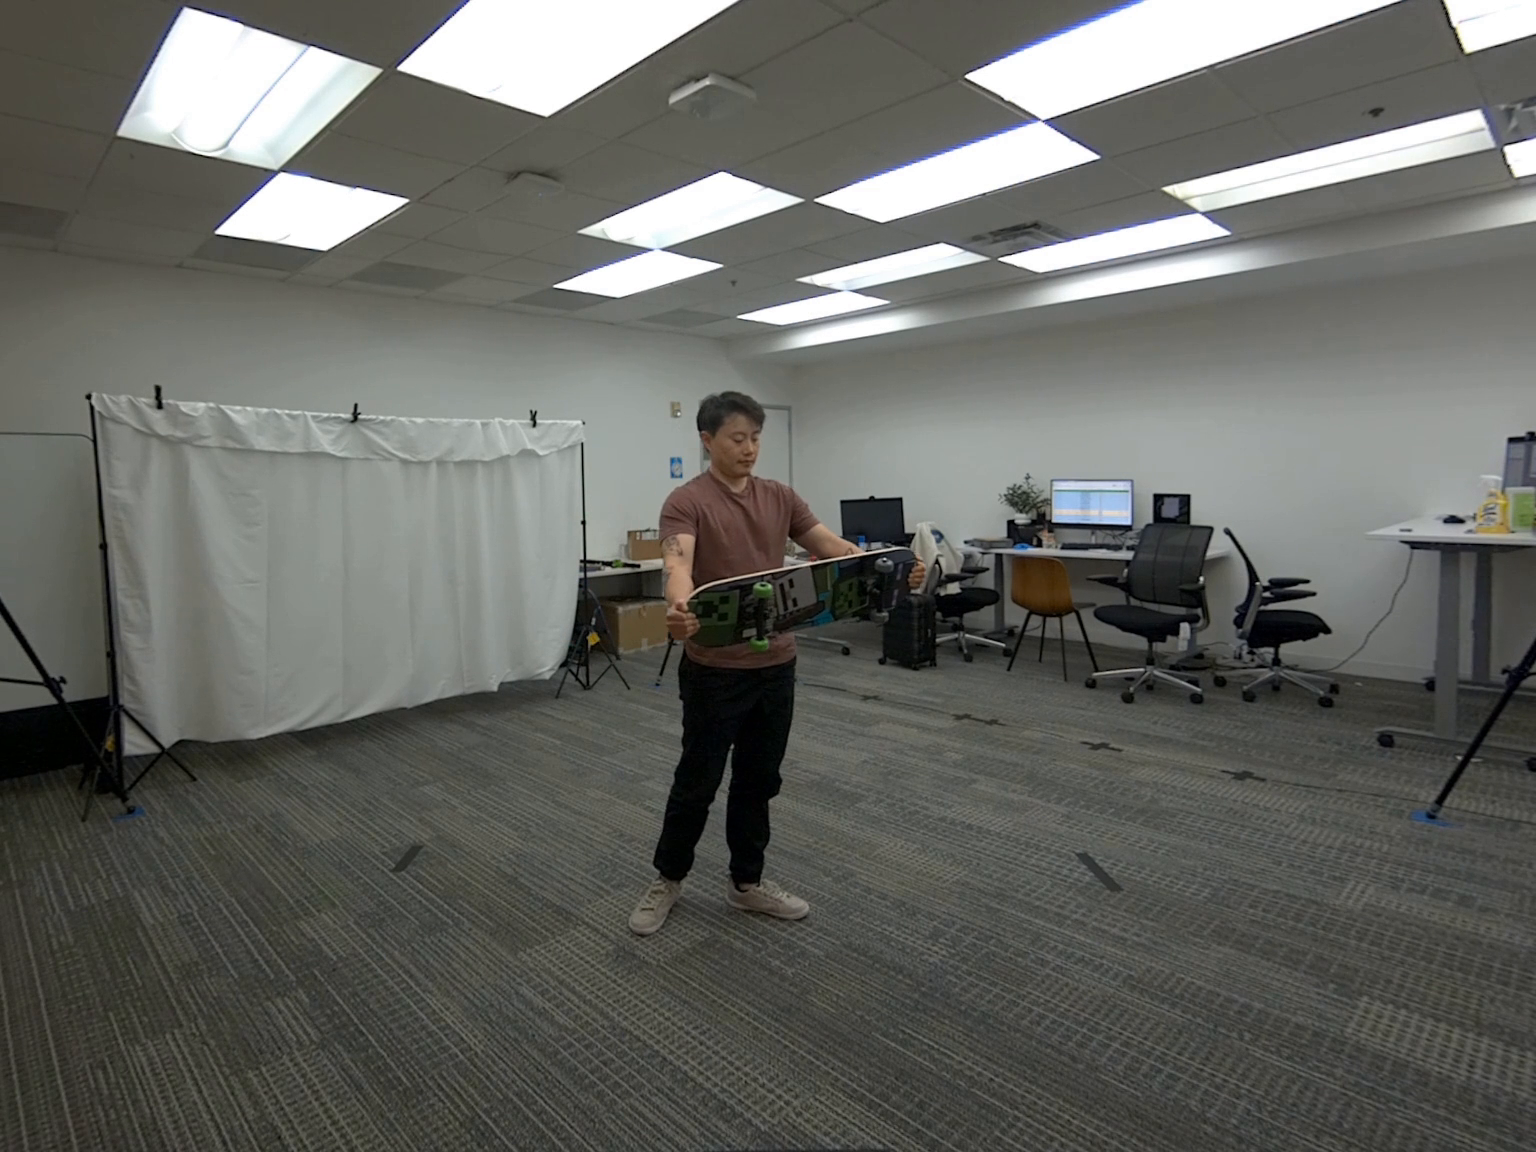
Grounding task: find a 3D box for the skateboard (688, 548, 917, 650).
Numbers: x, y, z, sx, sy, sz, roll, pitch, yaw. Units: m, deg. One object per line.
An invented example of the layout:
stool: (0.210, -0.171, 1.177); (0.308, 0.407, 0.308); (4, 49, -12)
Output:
skateboard: (0.132, 0.067, 2.331); (0.770, 0.190, 0.114); (-11, 23, -28)
